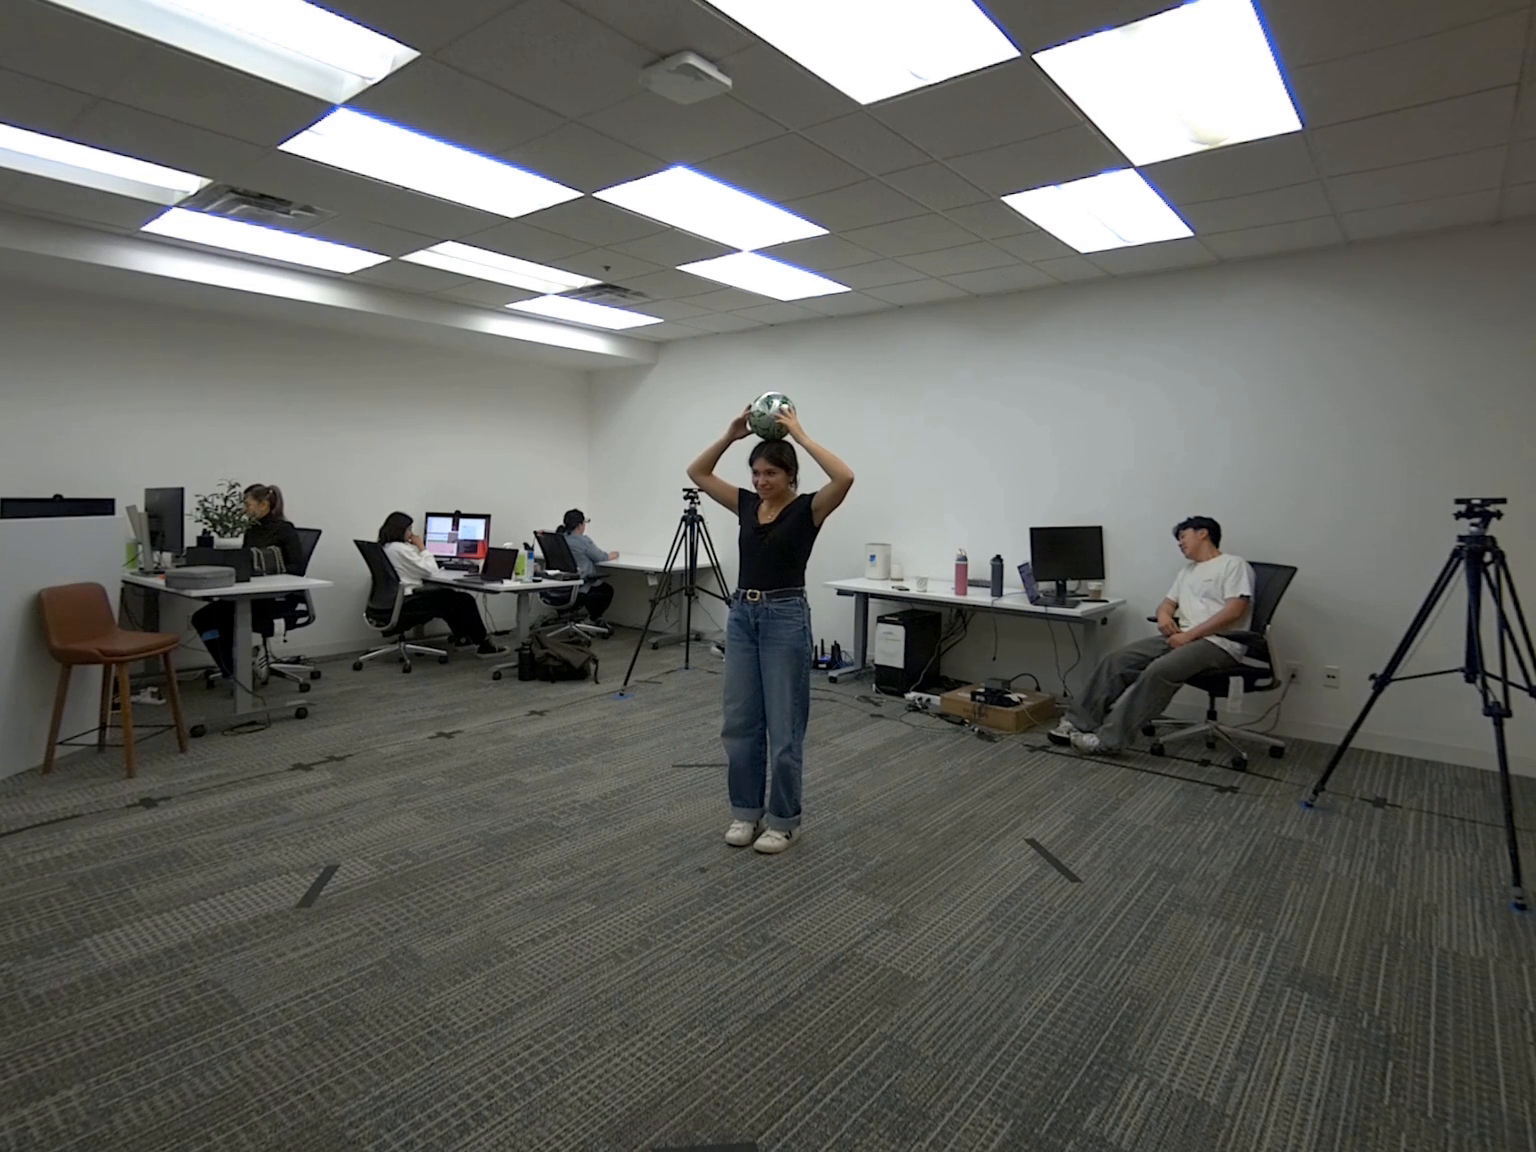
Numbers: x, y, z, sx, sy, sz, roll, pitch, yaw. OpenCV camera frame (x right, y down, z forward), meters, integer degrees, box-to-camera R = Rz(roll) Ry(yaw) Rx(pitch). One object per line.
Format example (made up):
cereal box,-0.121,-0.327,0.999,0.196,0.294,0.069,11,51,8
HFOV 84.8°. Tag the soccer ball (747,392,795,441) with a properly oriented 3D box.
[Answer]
soccer ball,0.014,-0.625,3.299,0.187,0.187,0.188,1,4,-2
